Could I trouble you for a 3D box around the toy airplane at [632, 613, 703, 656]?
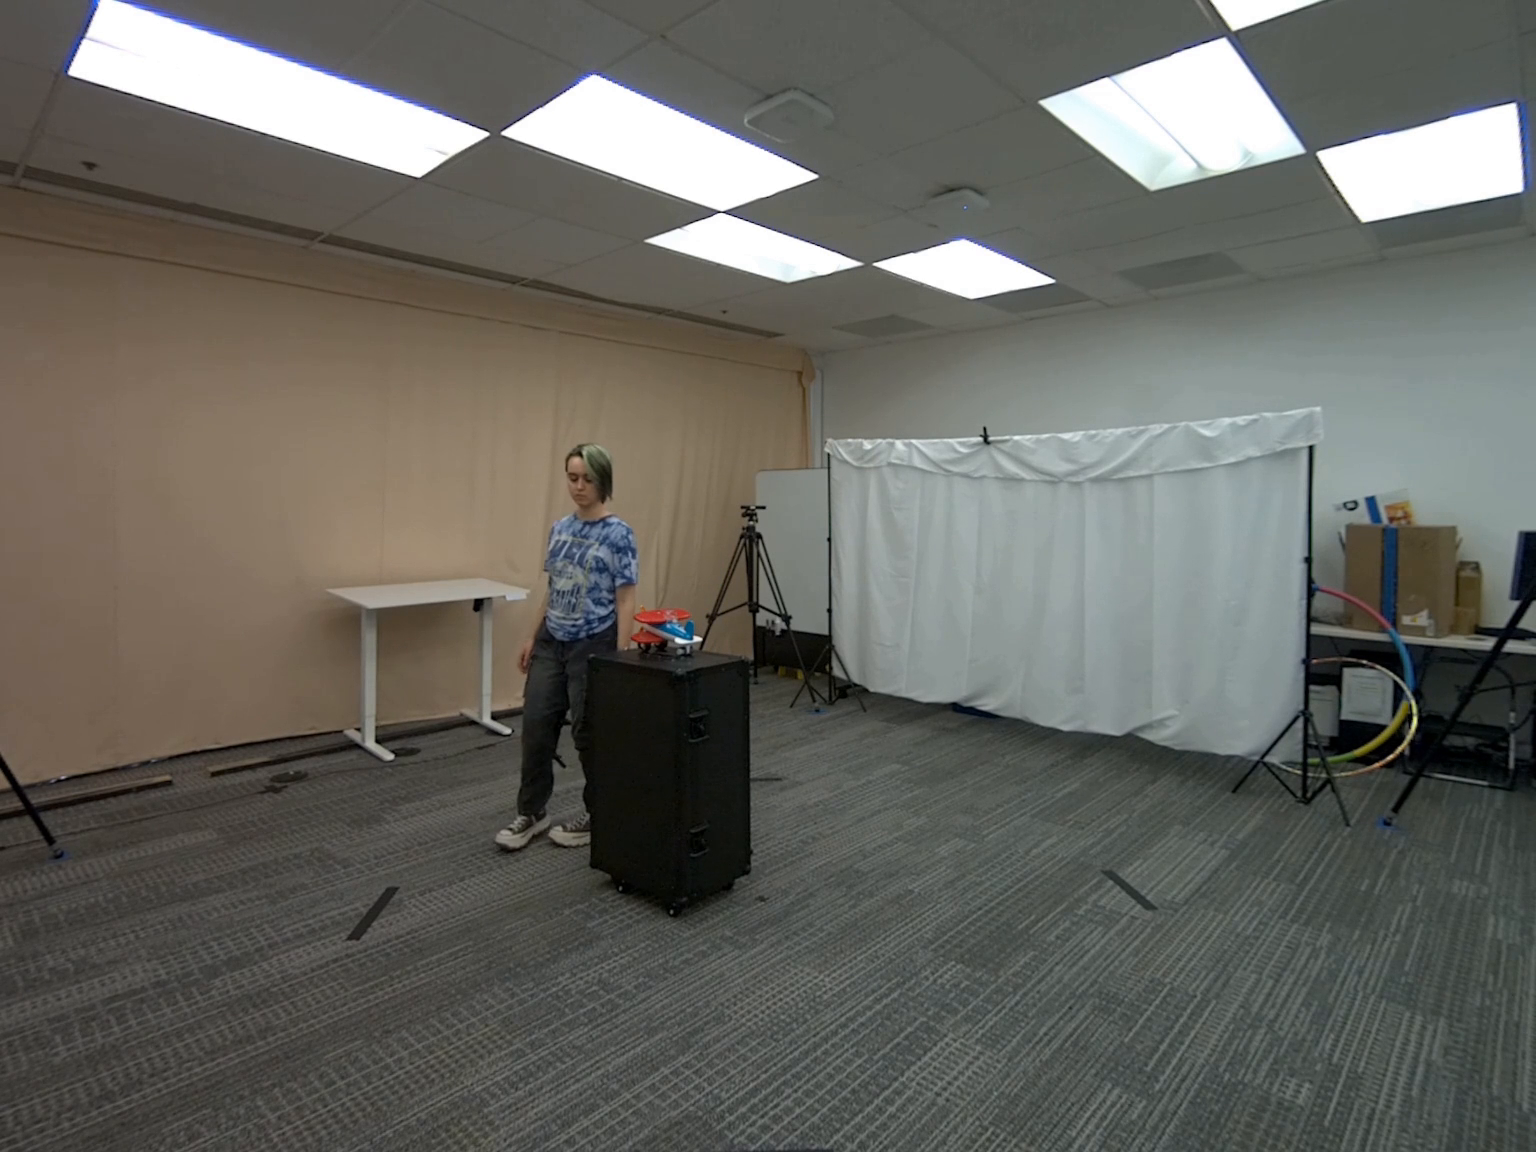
[{"bbox_3d":[-0.360,0.206,3.137,0.263,0.156,0.248,0,3,13],"label":"toy airplane"}]
